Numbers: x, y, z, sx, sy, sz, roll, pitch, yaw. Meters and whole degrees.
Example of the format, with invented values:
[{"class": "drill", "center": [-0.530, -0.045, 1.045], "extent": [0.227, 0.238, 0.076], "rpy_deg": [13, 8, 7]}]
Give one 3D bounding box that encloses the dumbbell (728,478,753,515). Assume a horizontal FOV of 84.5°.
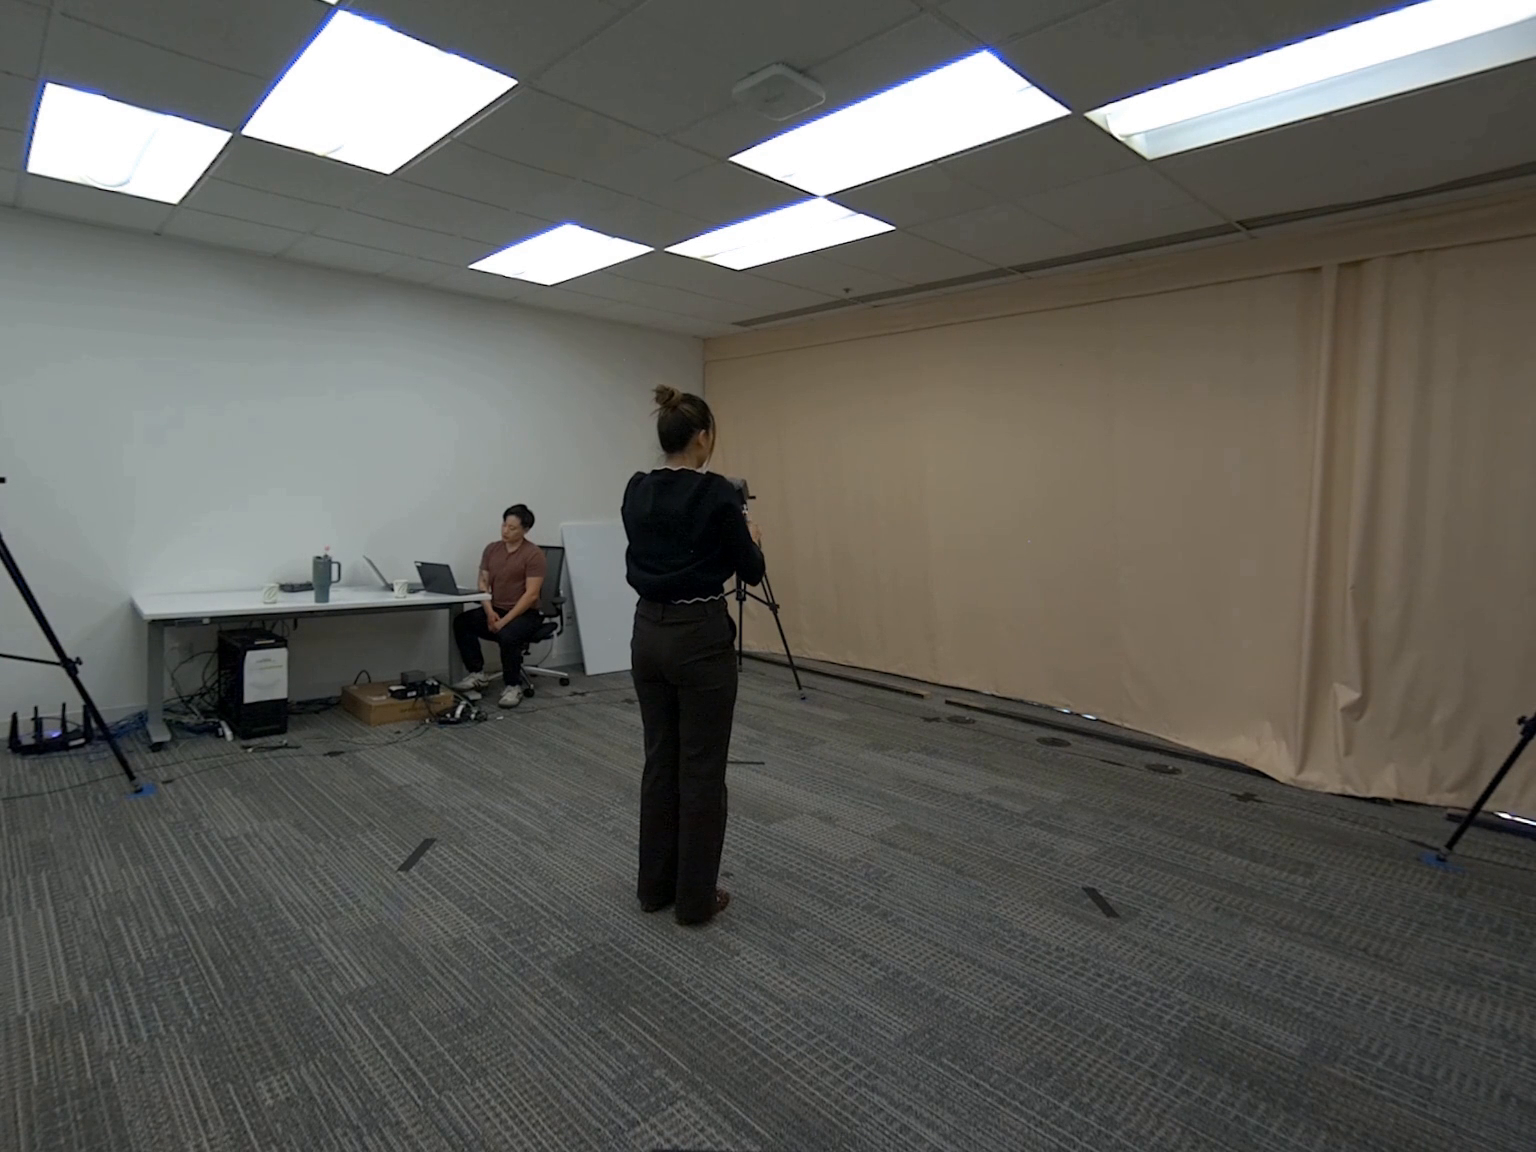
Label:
[{"class": "dumbbell", "center": [-0.110, -0.199, 2.994], "extent": [0.122, 0.287, 0.112], "rpy_deg": [-17, 29, -10]}]
